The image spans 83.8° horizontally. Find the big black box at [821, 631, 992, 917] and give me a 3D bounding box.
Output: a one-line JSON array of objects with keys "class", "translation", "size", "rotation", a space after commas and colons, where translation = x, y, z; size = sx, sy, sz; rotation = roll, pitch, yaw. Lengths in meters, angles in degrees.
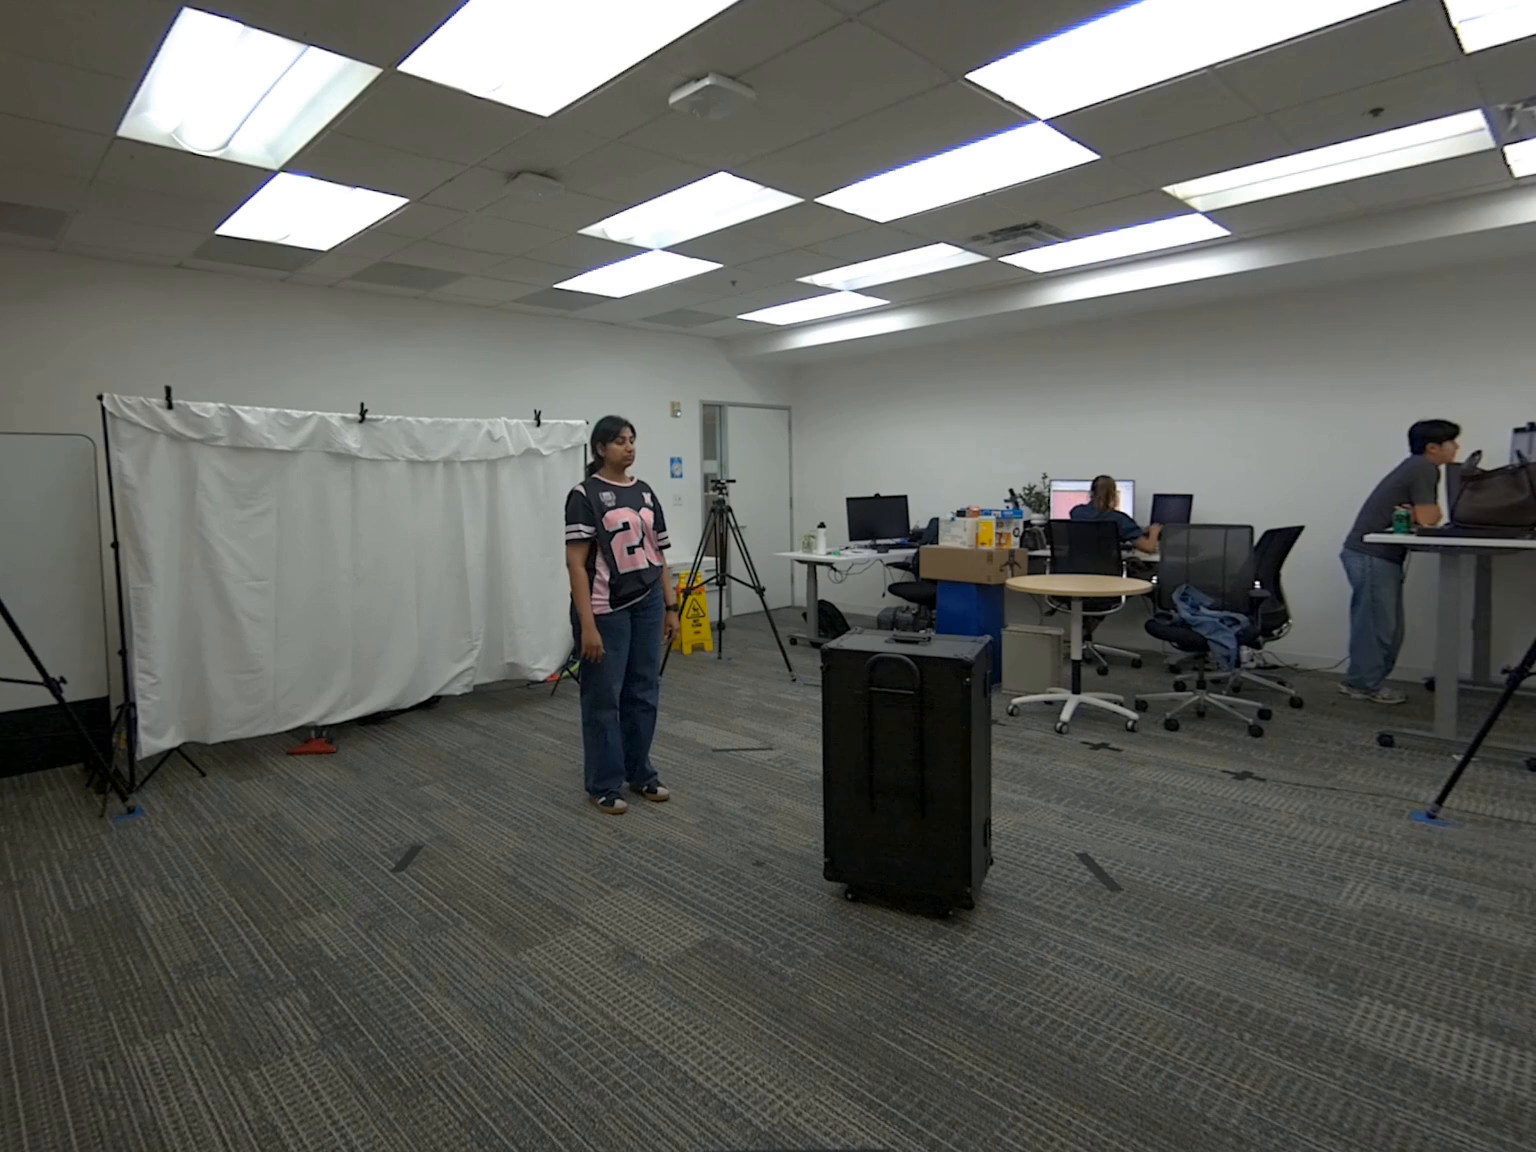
[{"class": "big black box", "translation": [0.476, 0.644, 2.839], "size": [0.536, 0.865, 0.378], "rotation": [1, 5, 26]}]
